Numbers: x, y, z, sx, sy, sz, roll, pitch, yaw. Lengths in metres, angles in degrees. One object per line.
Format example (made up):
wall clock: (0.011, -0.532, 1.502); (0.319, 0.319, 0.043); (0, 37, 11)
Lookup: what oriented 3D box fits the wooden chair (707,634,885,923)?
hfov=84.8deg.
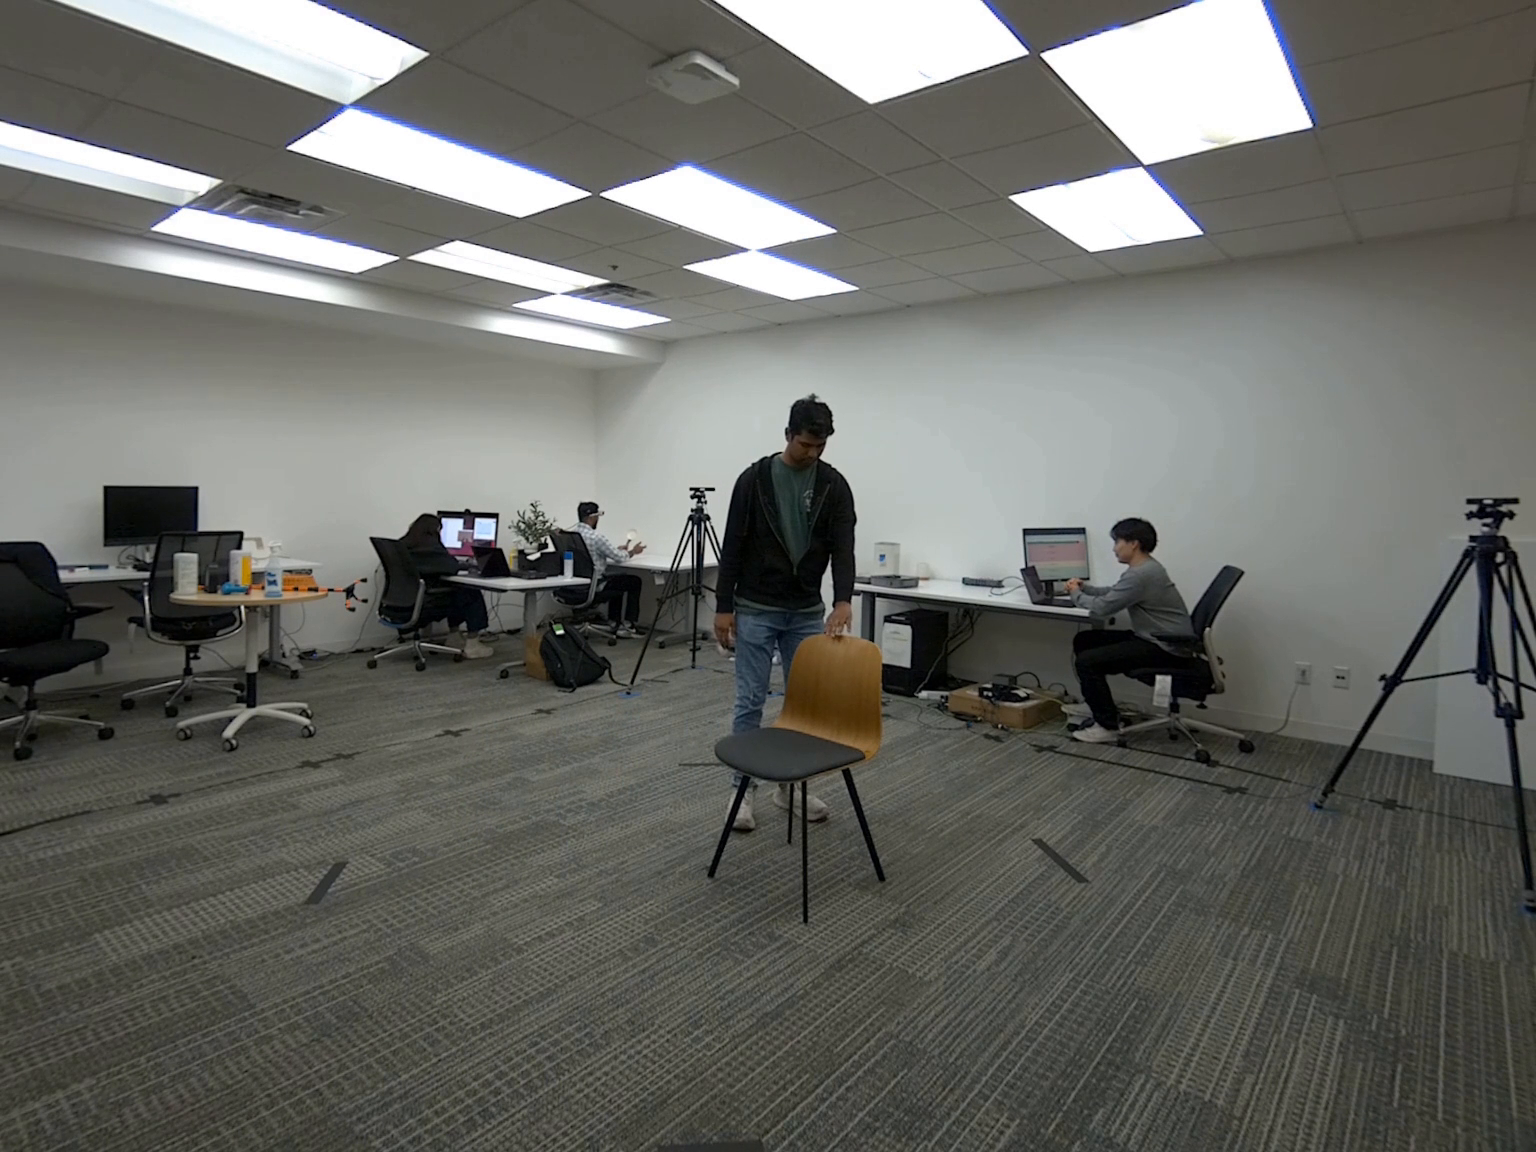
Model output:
wooden chair: (0.102, 0.656, 3.011); (0.494, 0.877, 0.505); (5, 0, 43)
